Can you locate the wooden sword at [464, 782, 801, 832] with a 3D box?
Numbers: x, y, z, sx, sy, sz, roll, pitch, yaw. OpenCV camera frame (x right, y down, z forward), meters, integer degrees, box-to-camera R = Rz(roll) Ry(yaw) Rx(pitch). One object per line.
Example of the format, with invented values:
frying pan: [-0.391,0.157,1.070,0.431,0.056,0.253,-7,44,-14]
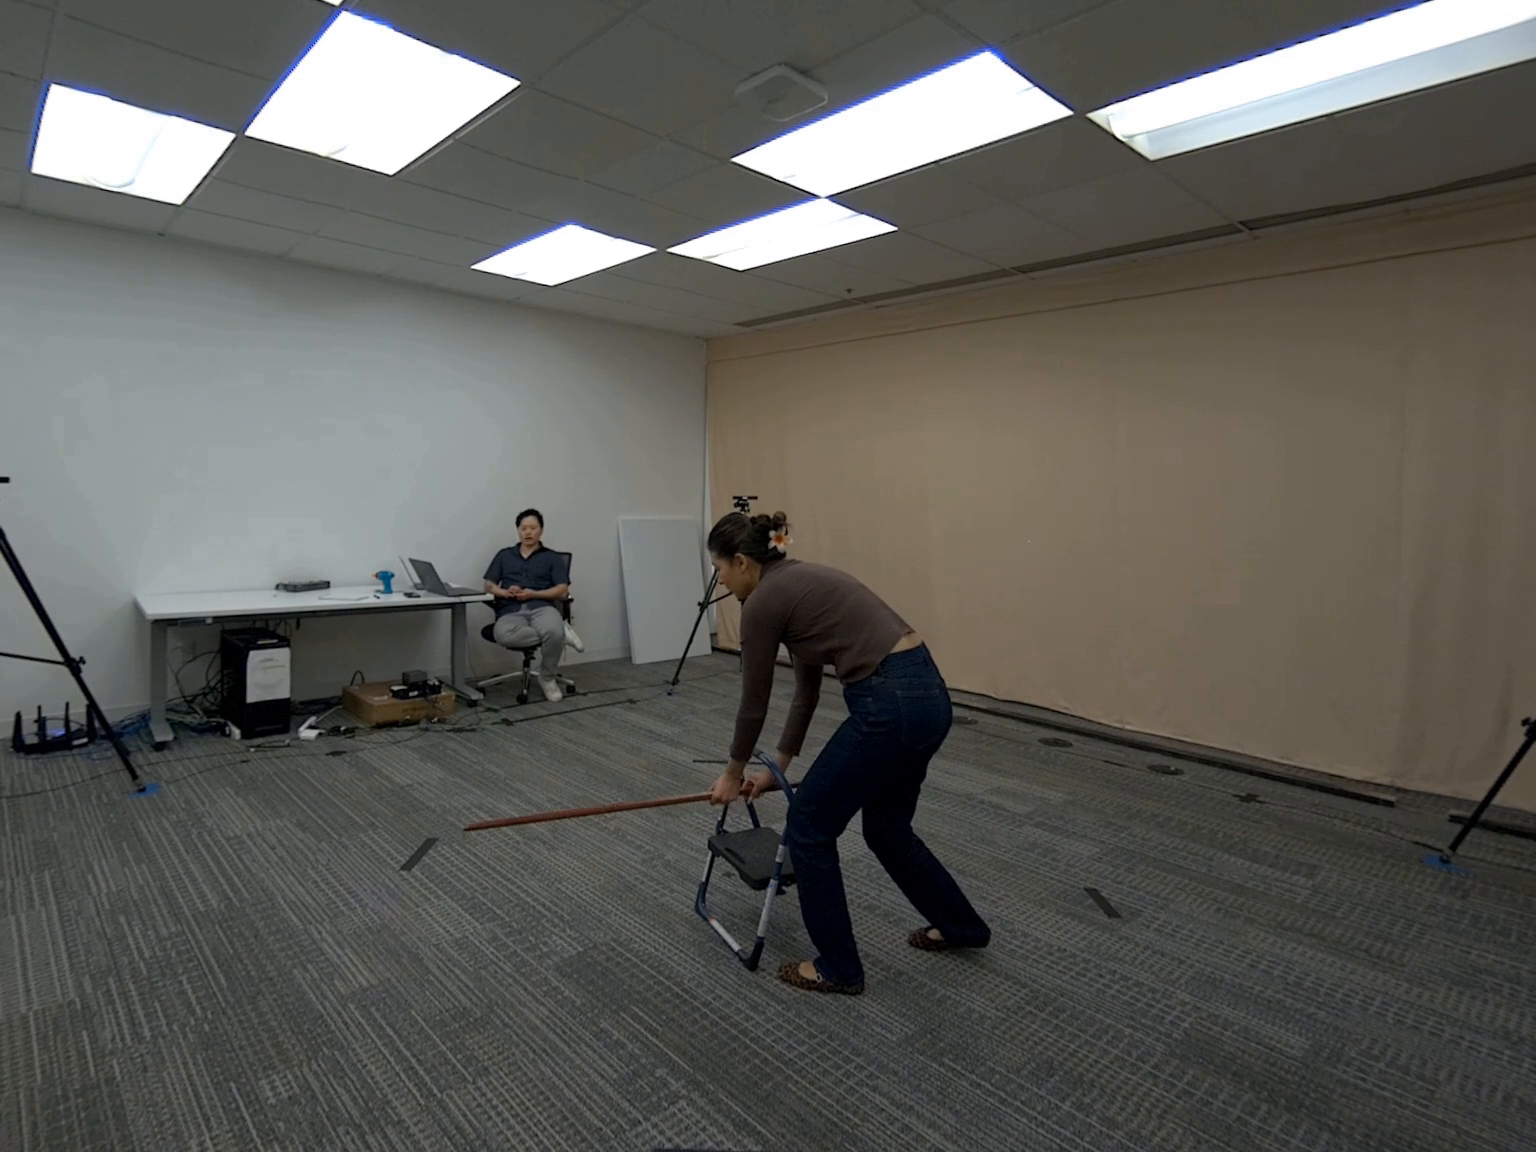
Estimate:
wooden sword: [-0.373,0.675,2.461,1.008,0.051,0.025,-1,22,-21]
